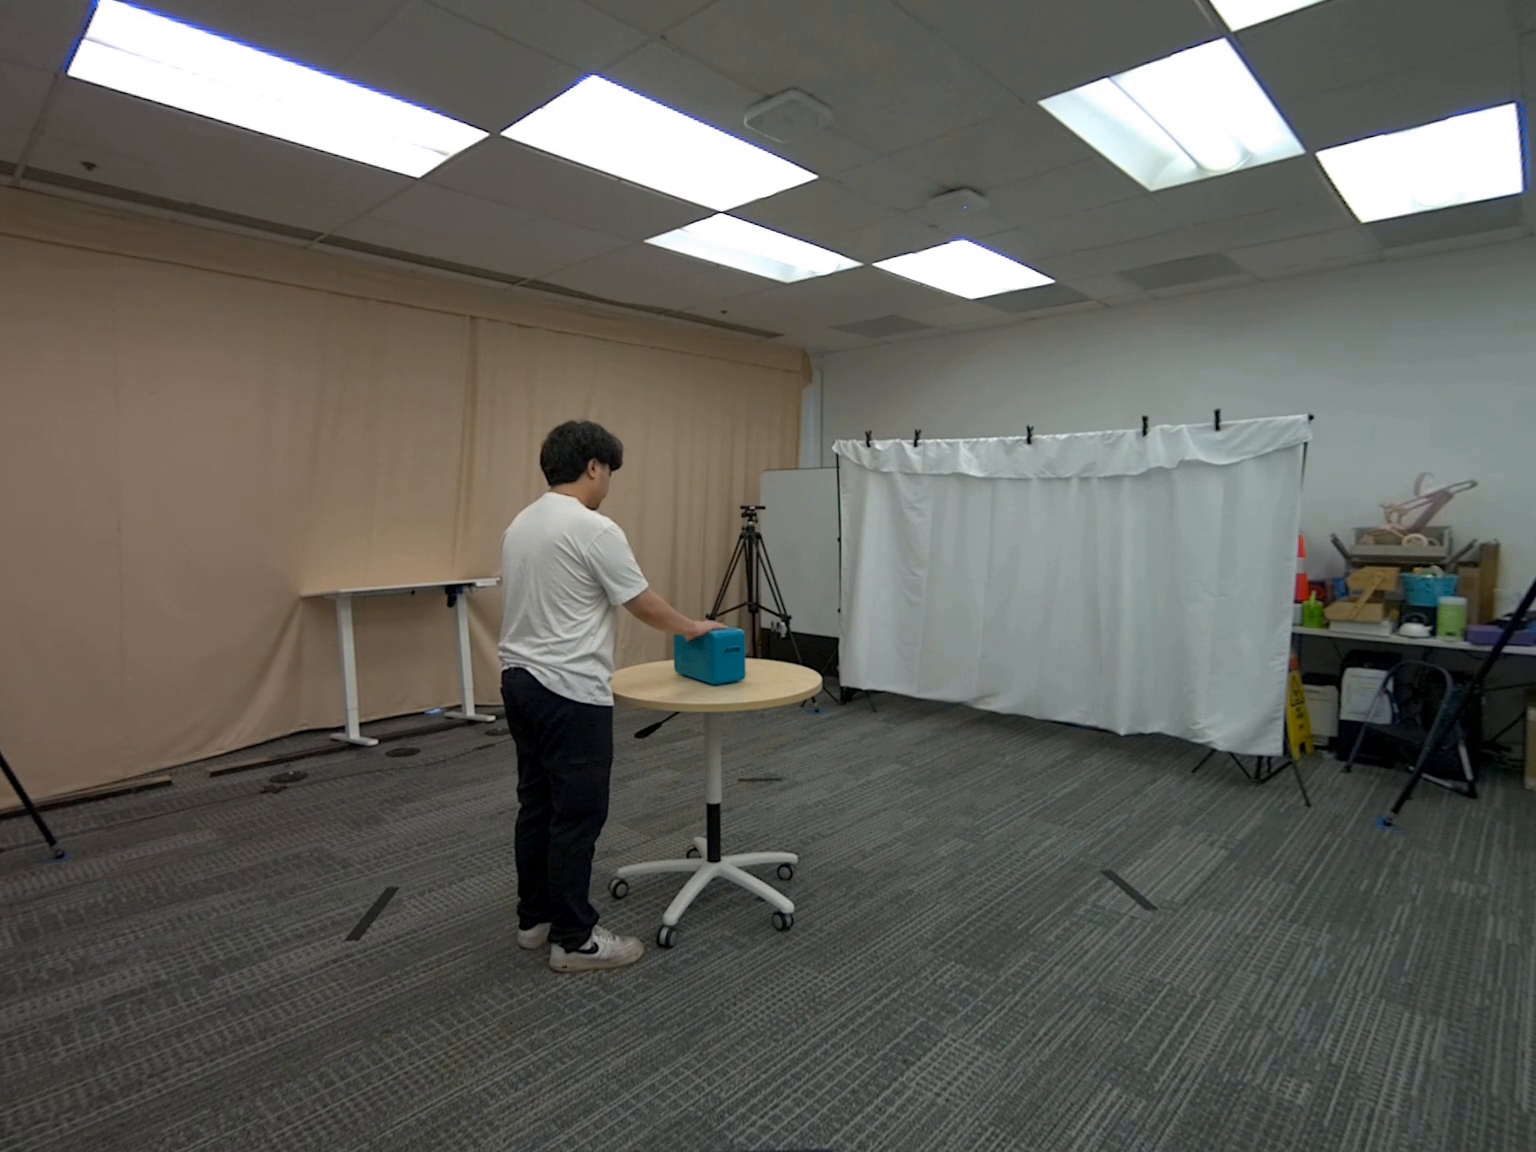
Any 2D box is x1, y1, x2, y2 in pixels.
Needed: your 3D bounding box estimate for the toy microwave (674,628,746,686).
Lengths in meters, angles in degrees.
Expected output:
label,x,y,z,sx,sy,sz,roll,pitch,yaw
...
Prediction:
label,x,y,z,sx,sy,sz,roll,pitch,yaw
toy microwave,-0.201,0.264,2.935,0.148,0.184,0.295,-4,5,-33
